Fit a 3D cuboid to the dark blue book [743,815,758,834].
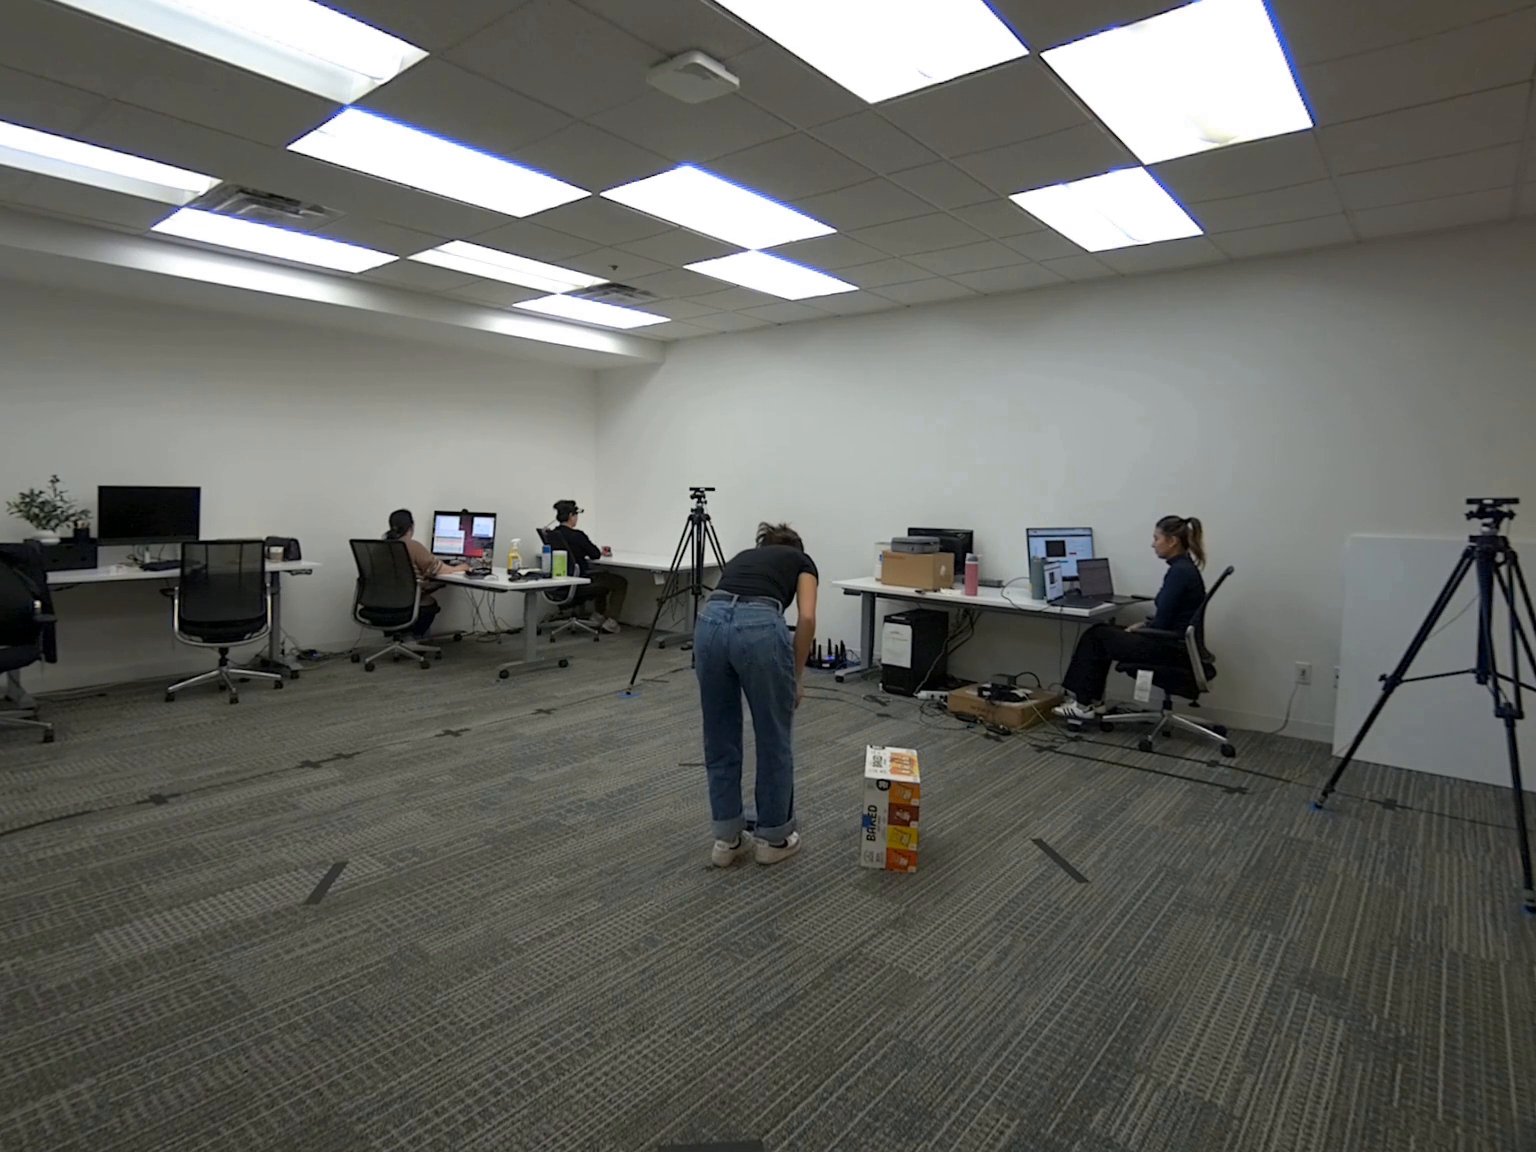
[{"bbox_3d":[-0.019,0.996,3.530,0.247,0.045,0.162,2,4,8],"label":"dark blue book"}]
